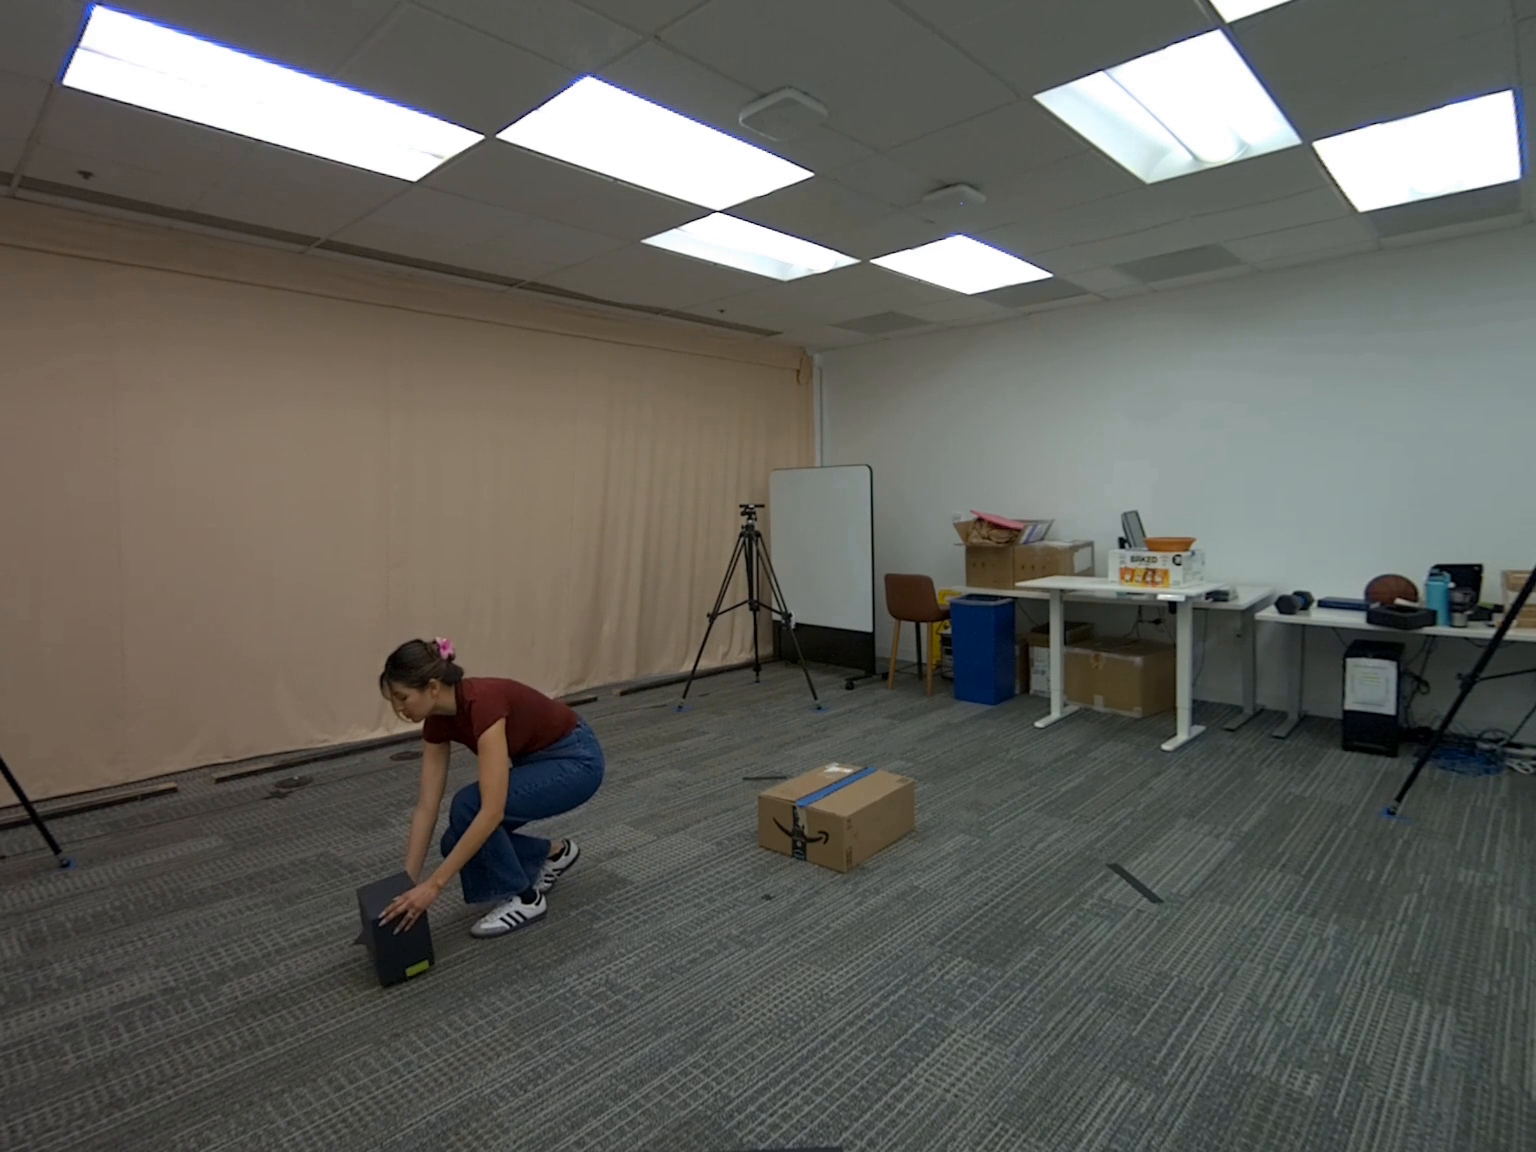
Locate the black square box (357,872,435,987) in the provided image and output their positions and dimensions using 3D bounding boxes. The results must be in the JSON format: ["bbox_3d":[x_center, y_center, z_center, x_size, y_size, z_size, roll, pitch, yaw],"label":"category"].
[{"bbox_3d":[-1.141,1.062,2.570,0.152,0.215,0.235,-11,12,-34],"label":"black square box"}]
